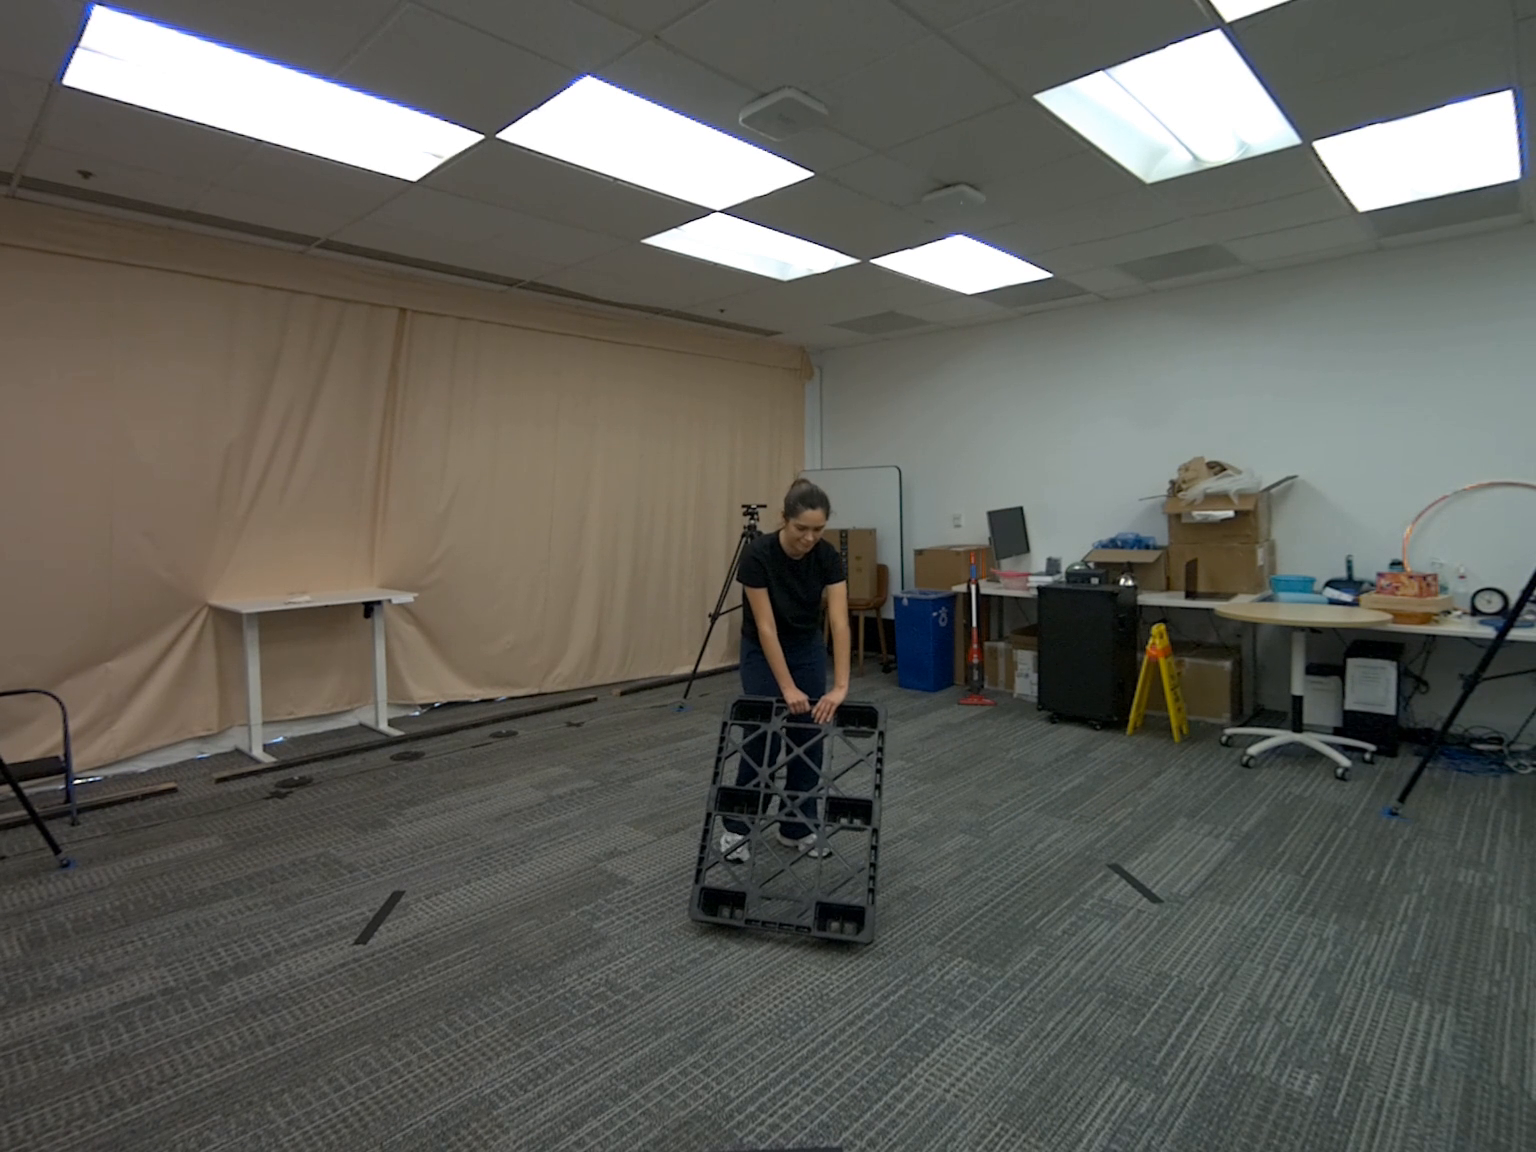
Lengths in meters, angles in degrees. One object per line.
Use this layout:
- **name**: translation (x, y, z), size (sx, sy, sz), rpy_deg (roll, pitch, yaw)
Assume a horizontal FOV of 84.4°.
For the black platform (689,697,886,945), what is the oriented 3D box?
- **black platform**: translation (0.106, 0.820, 2.920), size (0.616, 0.815, 0.139), rpy_deg (-1, -34, 16)
